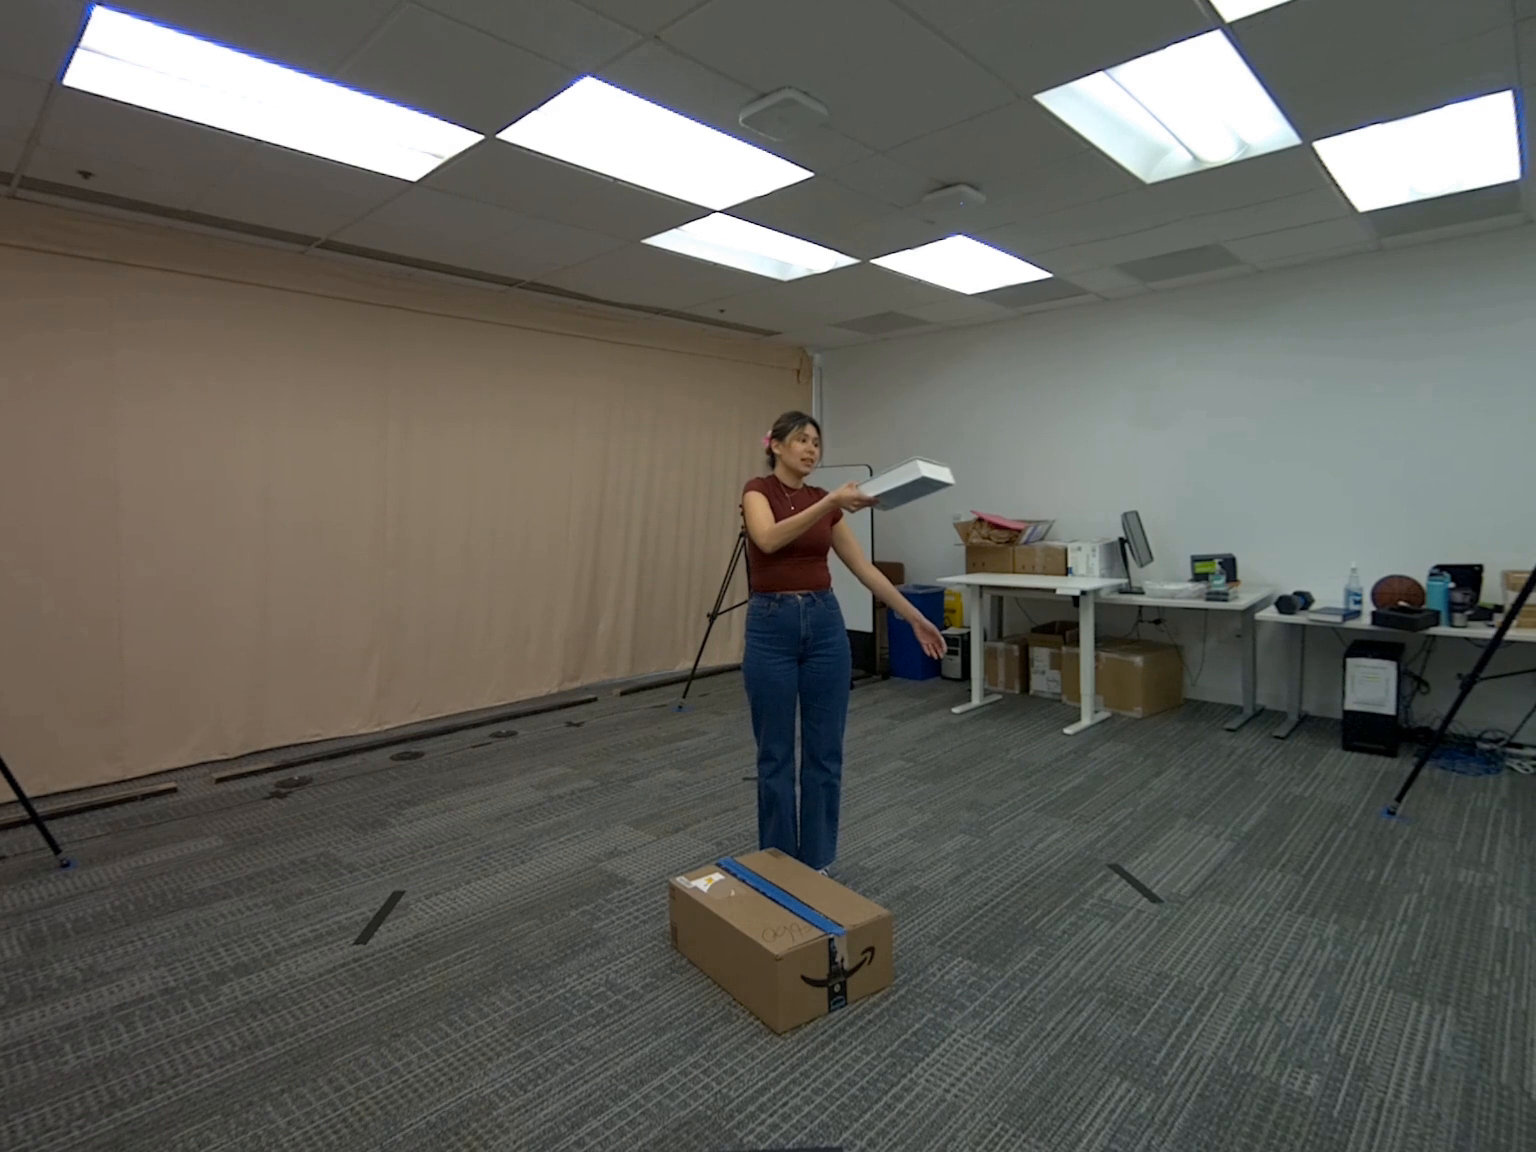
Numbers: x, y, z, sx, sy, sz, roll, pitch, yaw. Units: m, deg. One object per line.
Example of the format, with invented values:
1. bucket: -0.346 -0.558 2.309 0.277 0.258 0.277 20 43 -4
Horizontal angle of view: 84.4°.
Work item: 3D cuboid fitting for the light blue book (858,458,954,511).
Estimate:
1. light blue book: 0.426 -0.285 2.660 0.267 0.060 0.185 -22 -19 41
